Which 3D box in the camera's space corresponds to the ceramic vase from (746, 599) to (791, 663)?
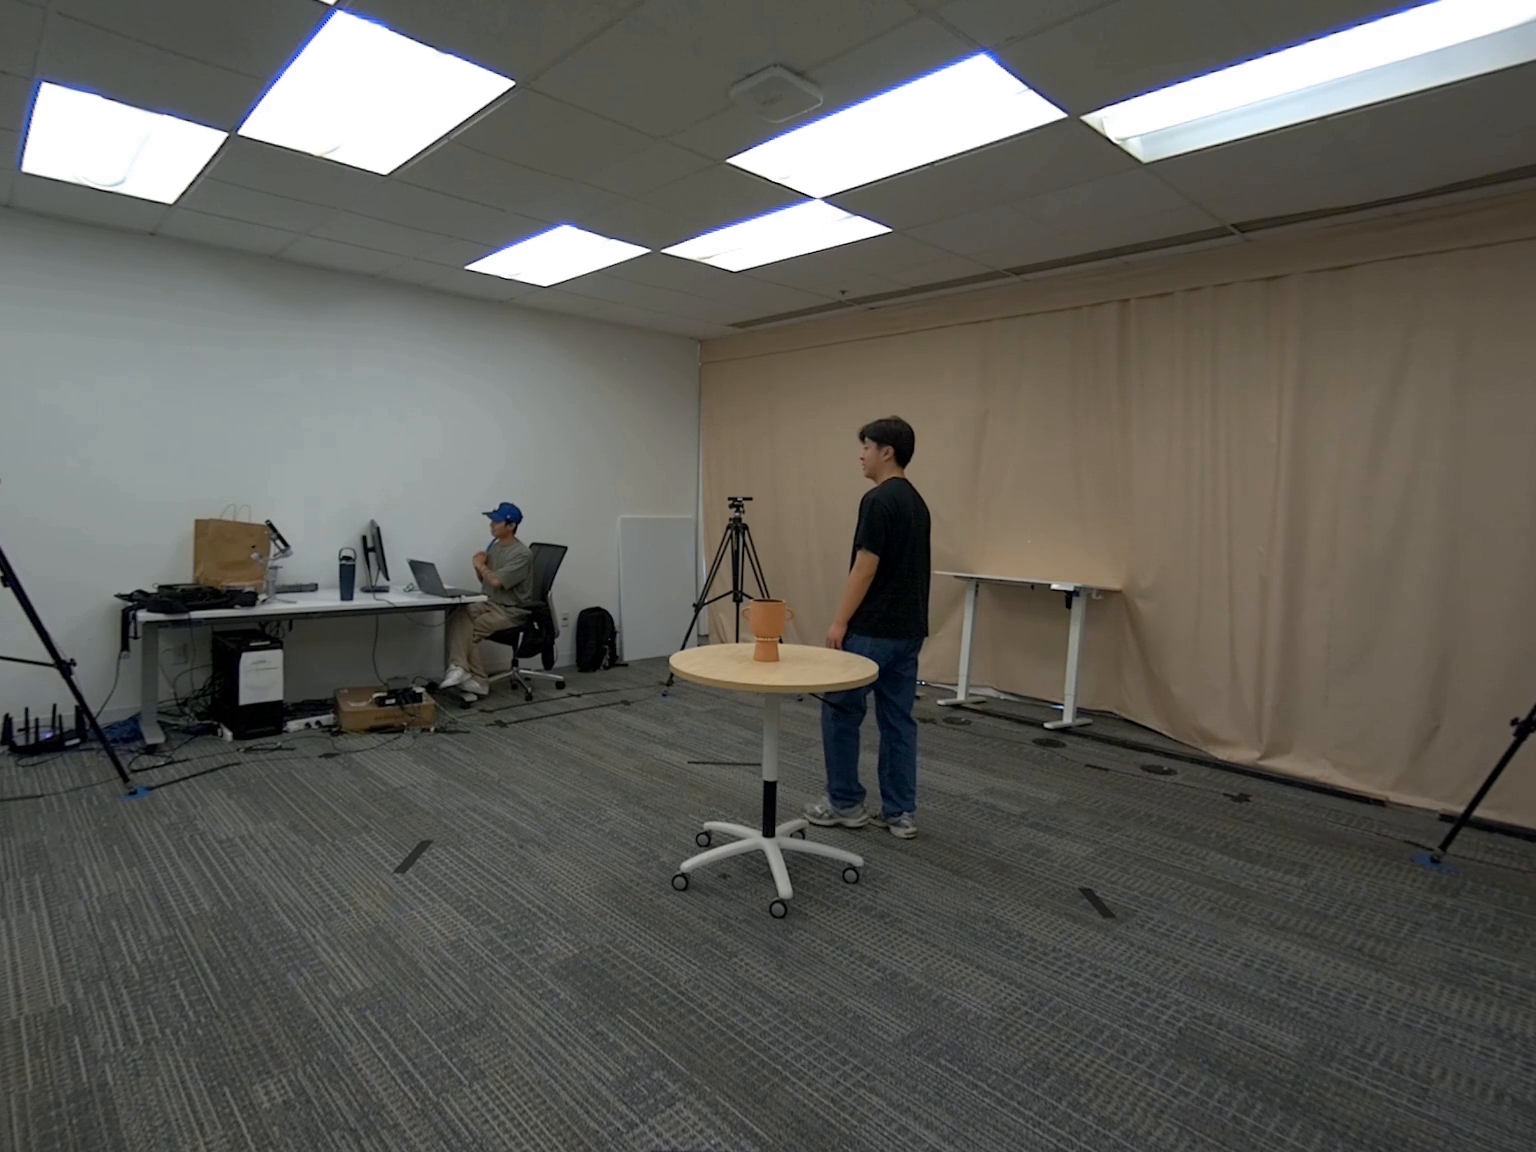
[{"bbox_3d":[-0.009,0.202,3.126,0.162,0.219,0.132,3,4,37],"label":"ceramic vase"}]
